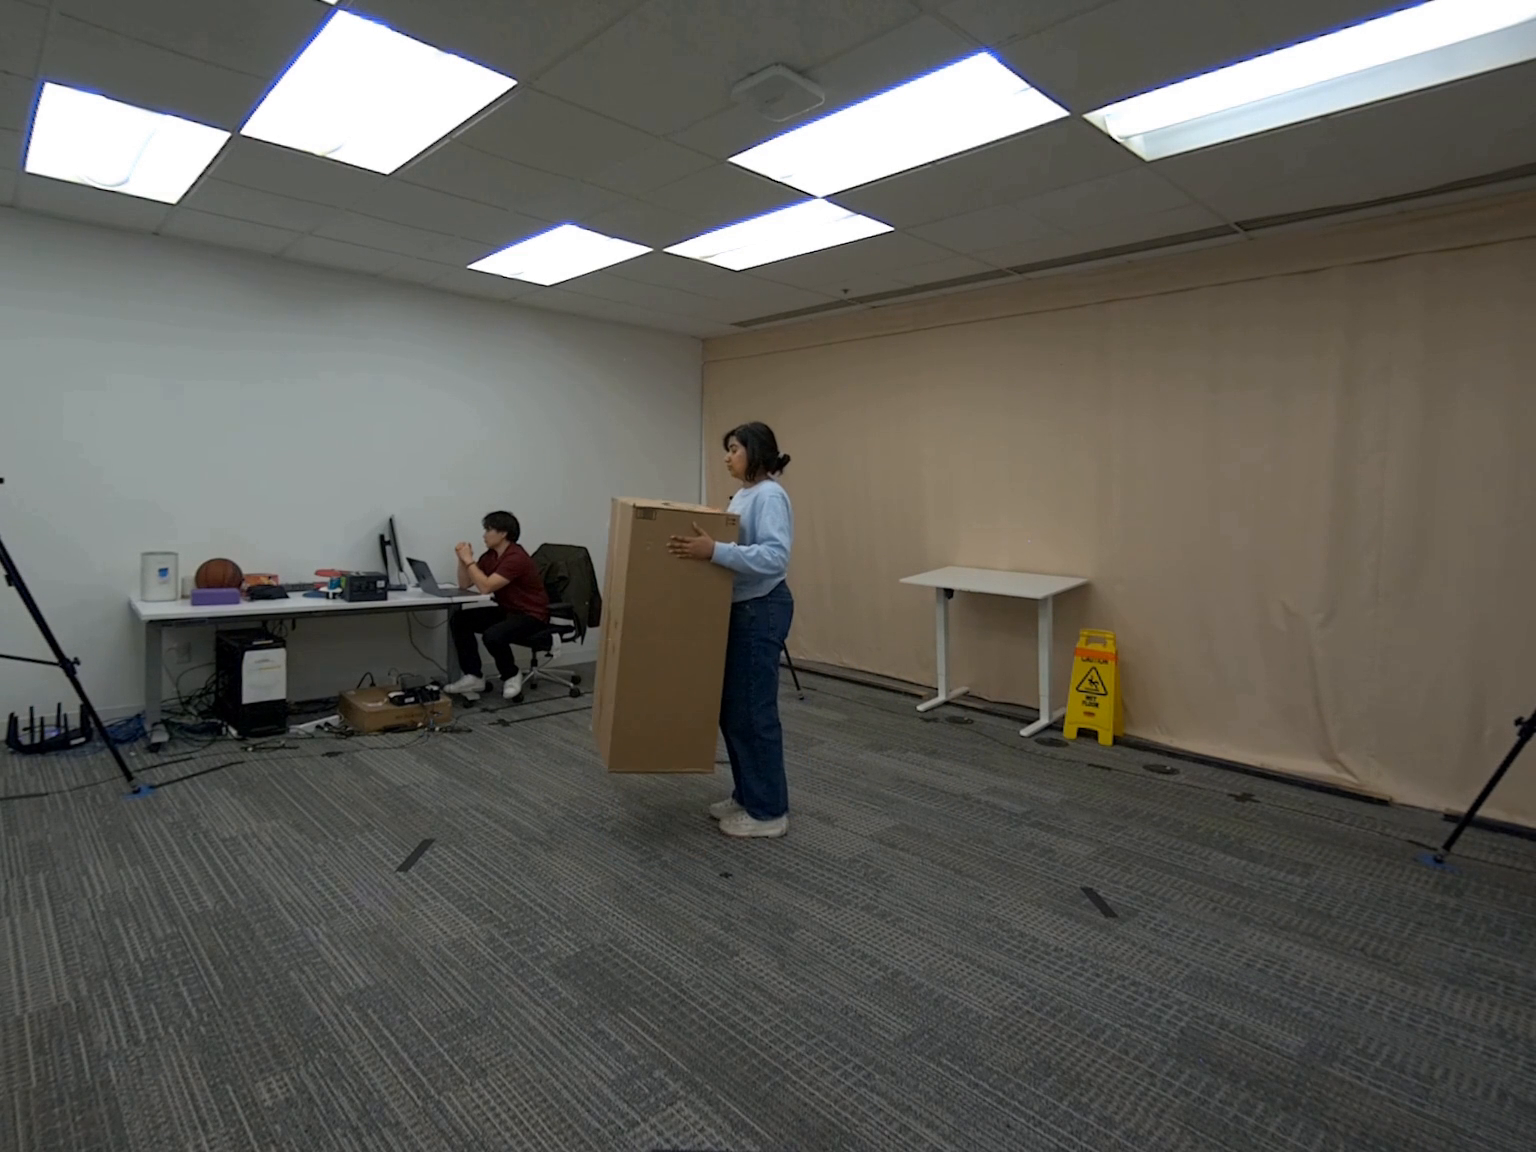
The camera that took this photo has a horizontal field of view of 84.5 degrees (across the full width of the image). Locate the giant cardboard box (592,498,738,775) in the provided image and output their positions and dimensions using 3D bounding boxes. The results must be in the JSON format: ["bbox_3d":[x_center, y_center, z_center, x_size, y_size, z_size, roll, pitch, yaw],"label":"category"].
[{"bbox_3d":[-0.451,0.222,3.471,0.441,1.024,0.594,5,5,-17],"label":"giant cardboard box"}]
